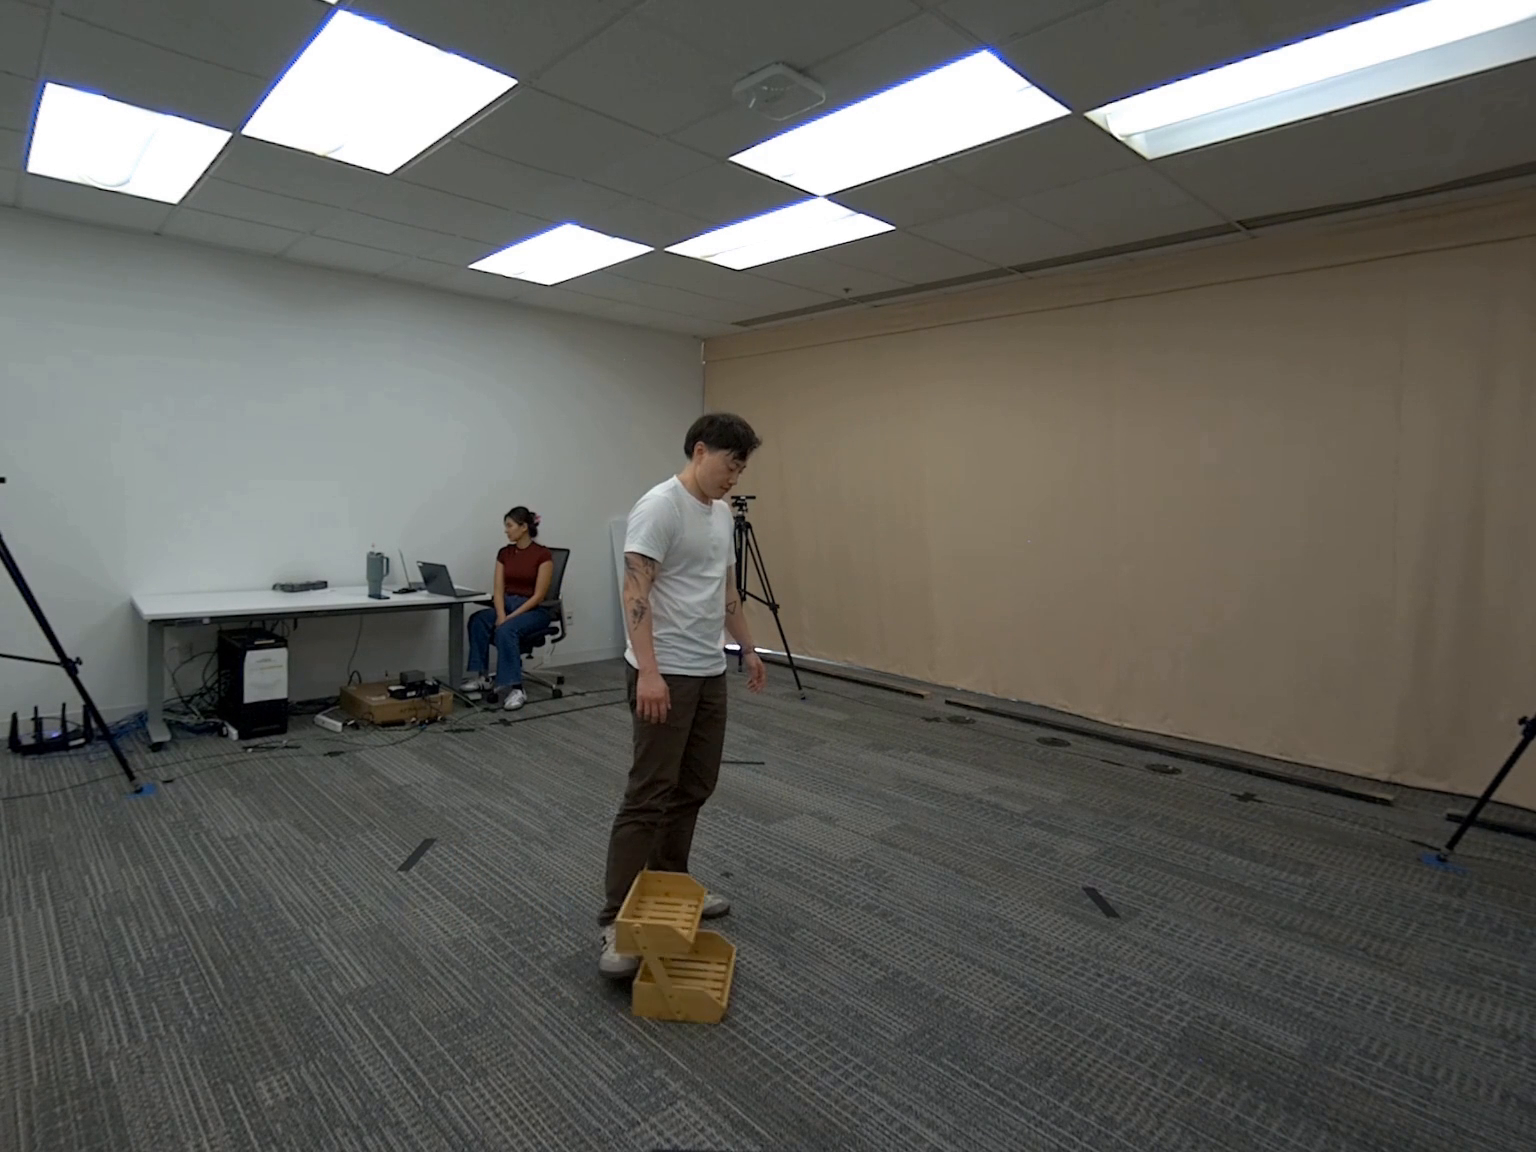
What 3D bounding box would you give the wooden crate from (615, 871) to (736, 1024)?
[{"bbox_3d":[-0.243,1.040,2.368,0.303,0.272,0.324,2,4,5],"label":"wooden crate"}]
